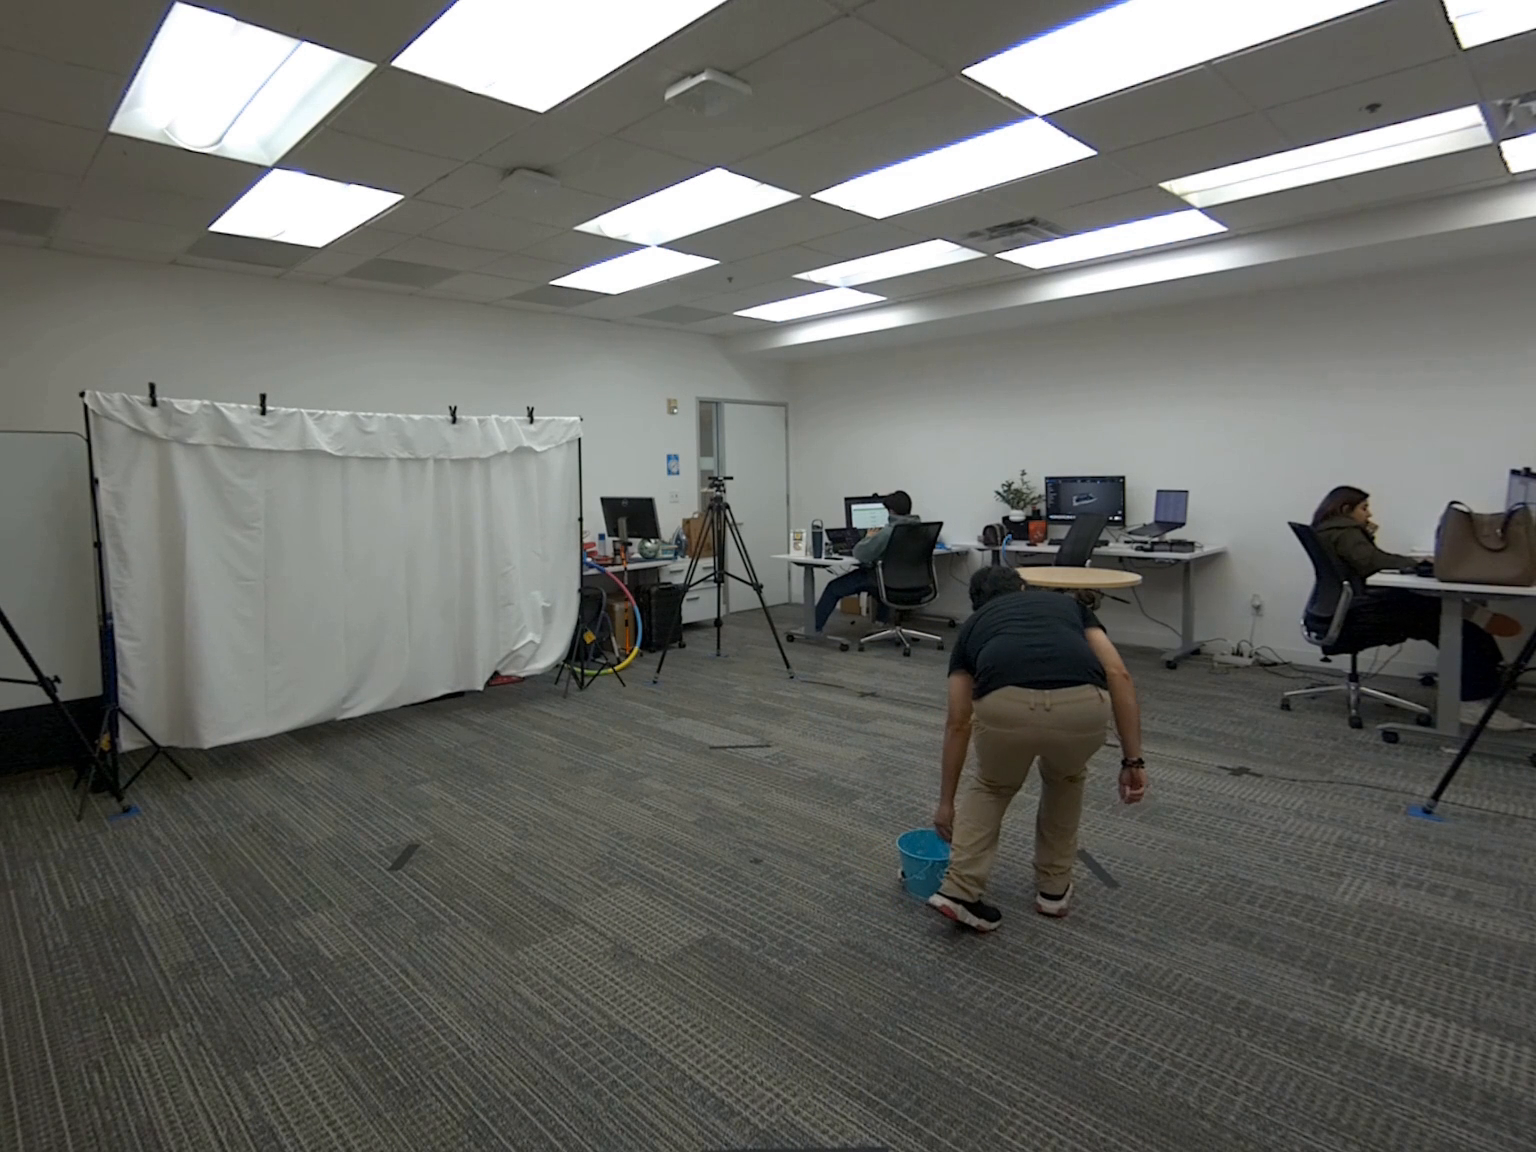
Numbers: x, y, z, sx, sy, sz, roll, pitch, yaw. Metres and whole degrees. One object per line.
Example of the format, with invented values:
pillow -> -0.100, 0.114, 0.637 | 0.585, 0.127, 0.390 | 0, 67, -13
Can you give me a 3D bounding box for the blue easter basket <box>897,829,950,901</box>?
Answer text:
blue easter basket -> 0.559, 0.975, 2.872 | 0.243, 0.155, 0.245 | -2, 7, -1
